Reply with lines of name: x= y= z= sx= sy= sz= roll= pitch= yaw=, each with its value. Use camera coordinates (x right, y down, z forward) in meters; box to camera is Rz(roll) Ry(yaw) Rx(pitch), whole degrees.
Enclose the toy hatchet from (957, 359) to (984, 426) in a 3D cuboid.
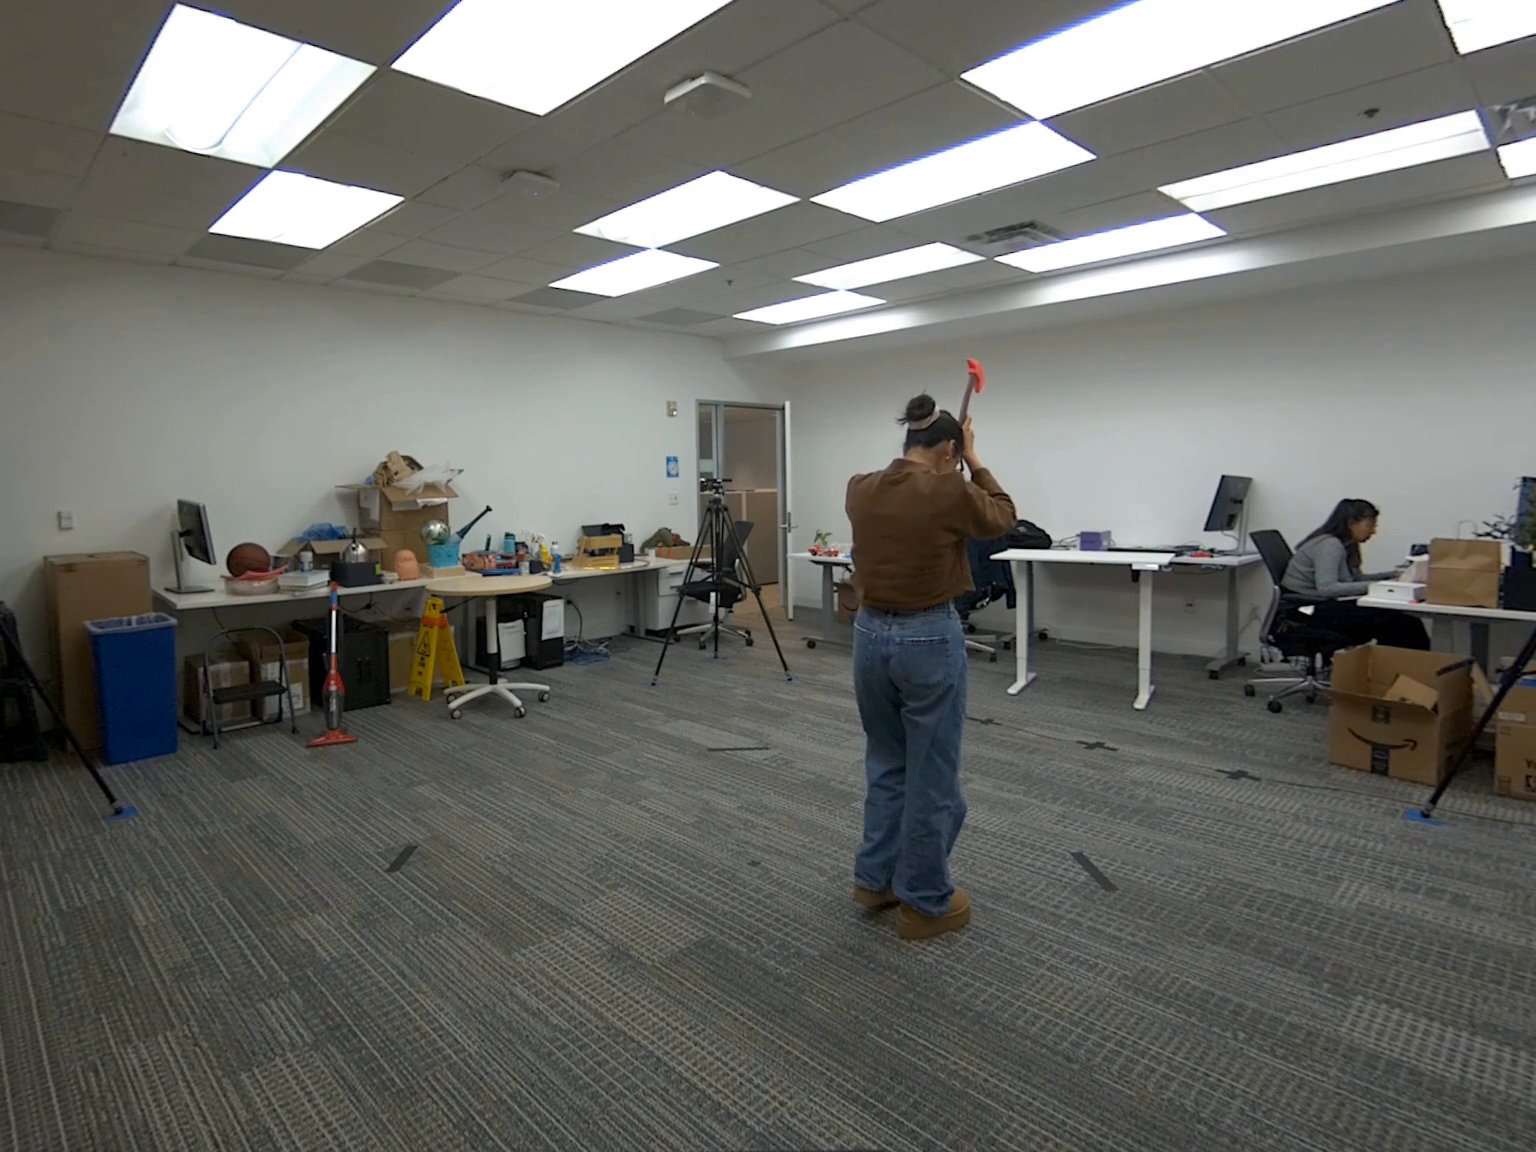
toy hatchet: x=0.674 y=-0.577 z=2.803 sx=0.030 sy=0.271 sz=0.126 roll=3 pitch=-8 yaw=37
